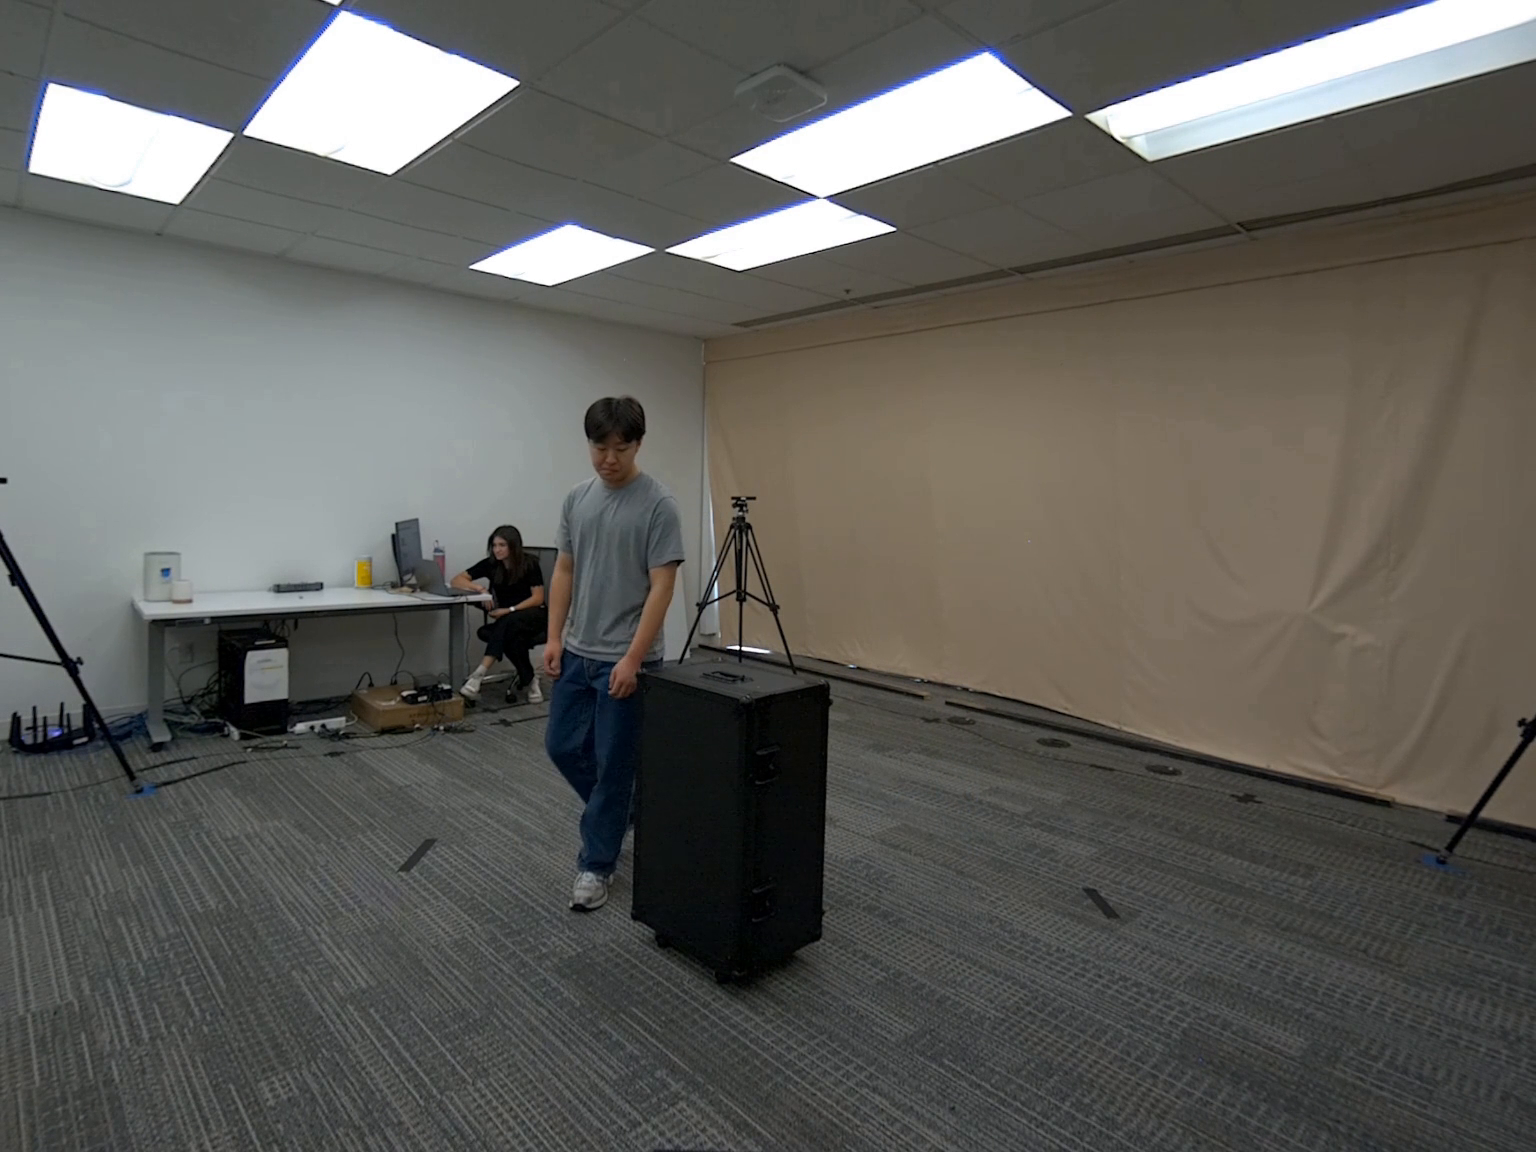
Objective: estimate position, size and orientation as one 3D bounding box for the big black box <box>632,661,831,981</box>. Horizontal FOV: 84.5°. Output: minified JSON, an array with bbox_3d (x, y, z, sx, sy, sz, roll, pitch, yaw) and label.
[{"bbox_3d":[-0.119,0.730,2.568,0.534,0.860,0.387,5,4,44],"label":"big black box"}]
